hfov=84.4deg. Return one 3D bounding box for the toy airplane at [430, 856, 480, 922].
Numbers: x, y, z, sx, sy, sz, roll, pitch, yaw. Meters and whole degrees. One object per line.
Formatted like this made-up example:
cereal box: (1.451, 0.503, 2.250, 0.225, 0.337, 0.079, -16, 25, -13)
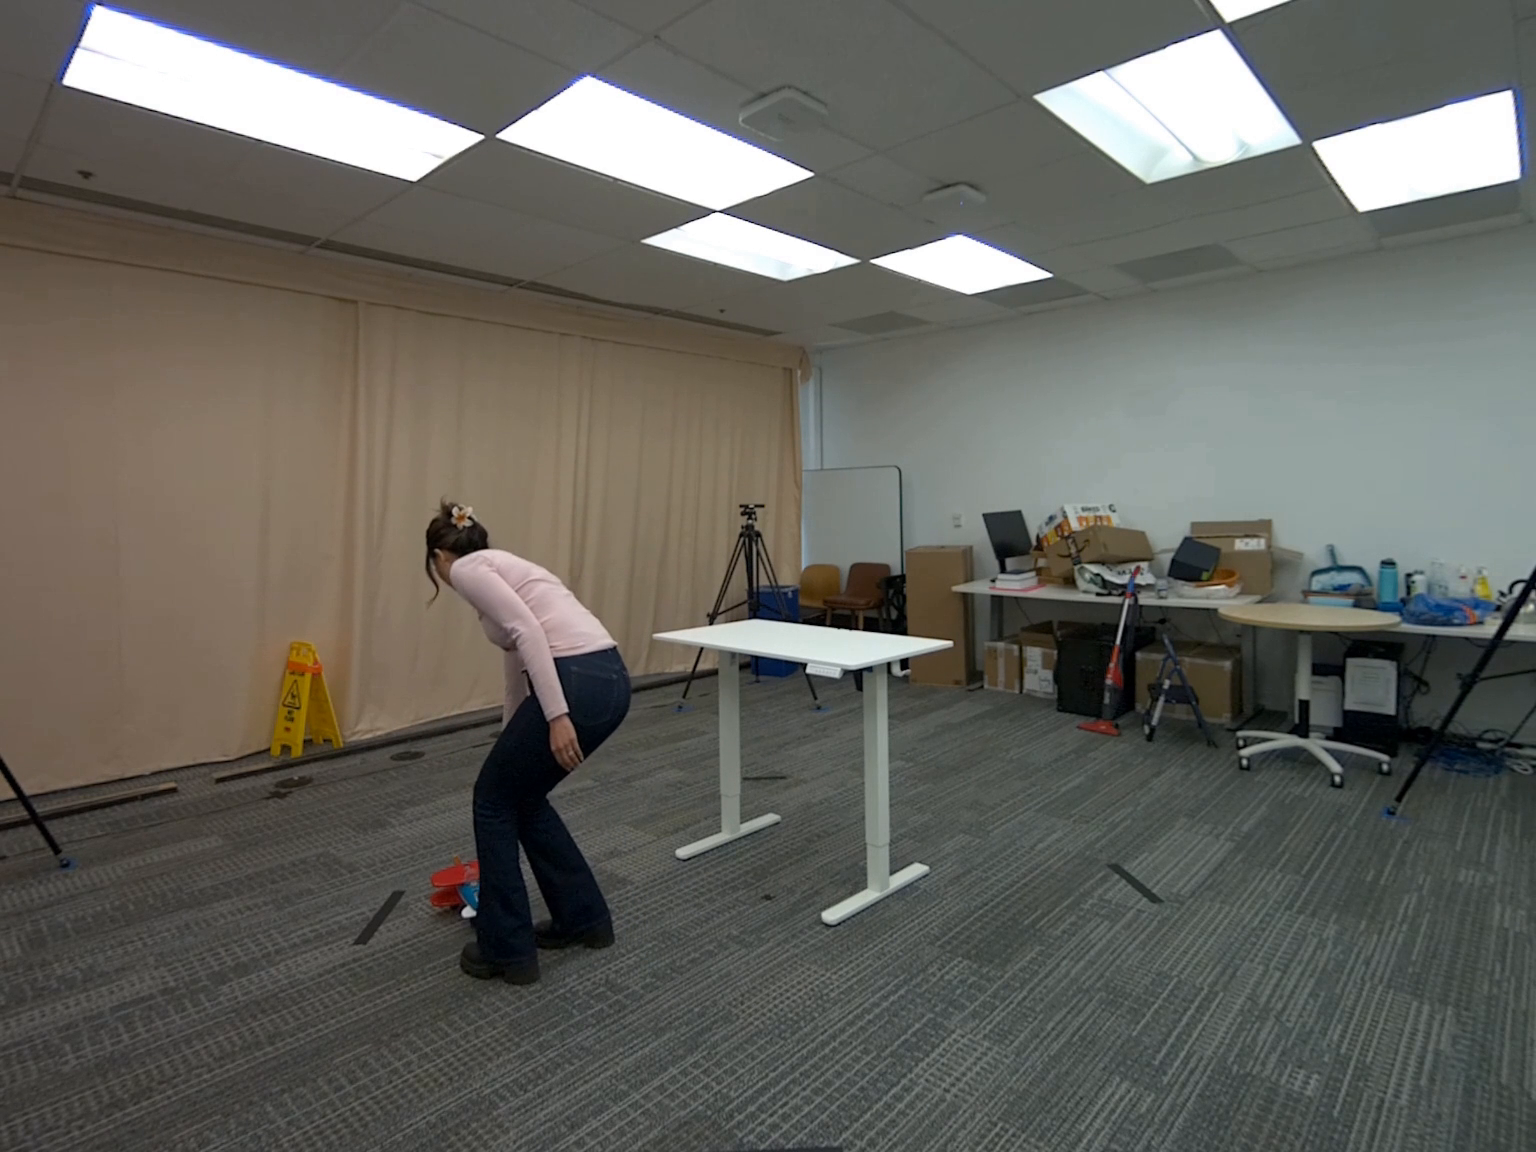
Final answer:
toy airplane: (-1.013, 1.094, 2.916, 0.266, 0.156, 0.245, -1, 3, 28)
